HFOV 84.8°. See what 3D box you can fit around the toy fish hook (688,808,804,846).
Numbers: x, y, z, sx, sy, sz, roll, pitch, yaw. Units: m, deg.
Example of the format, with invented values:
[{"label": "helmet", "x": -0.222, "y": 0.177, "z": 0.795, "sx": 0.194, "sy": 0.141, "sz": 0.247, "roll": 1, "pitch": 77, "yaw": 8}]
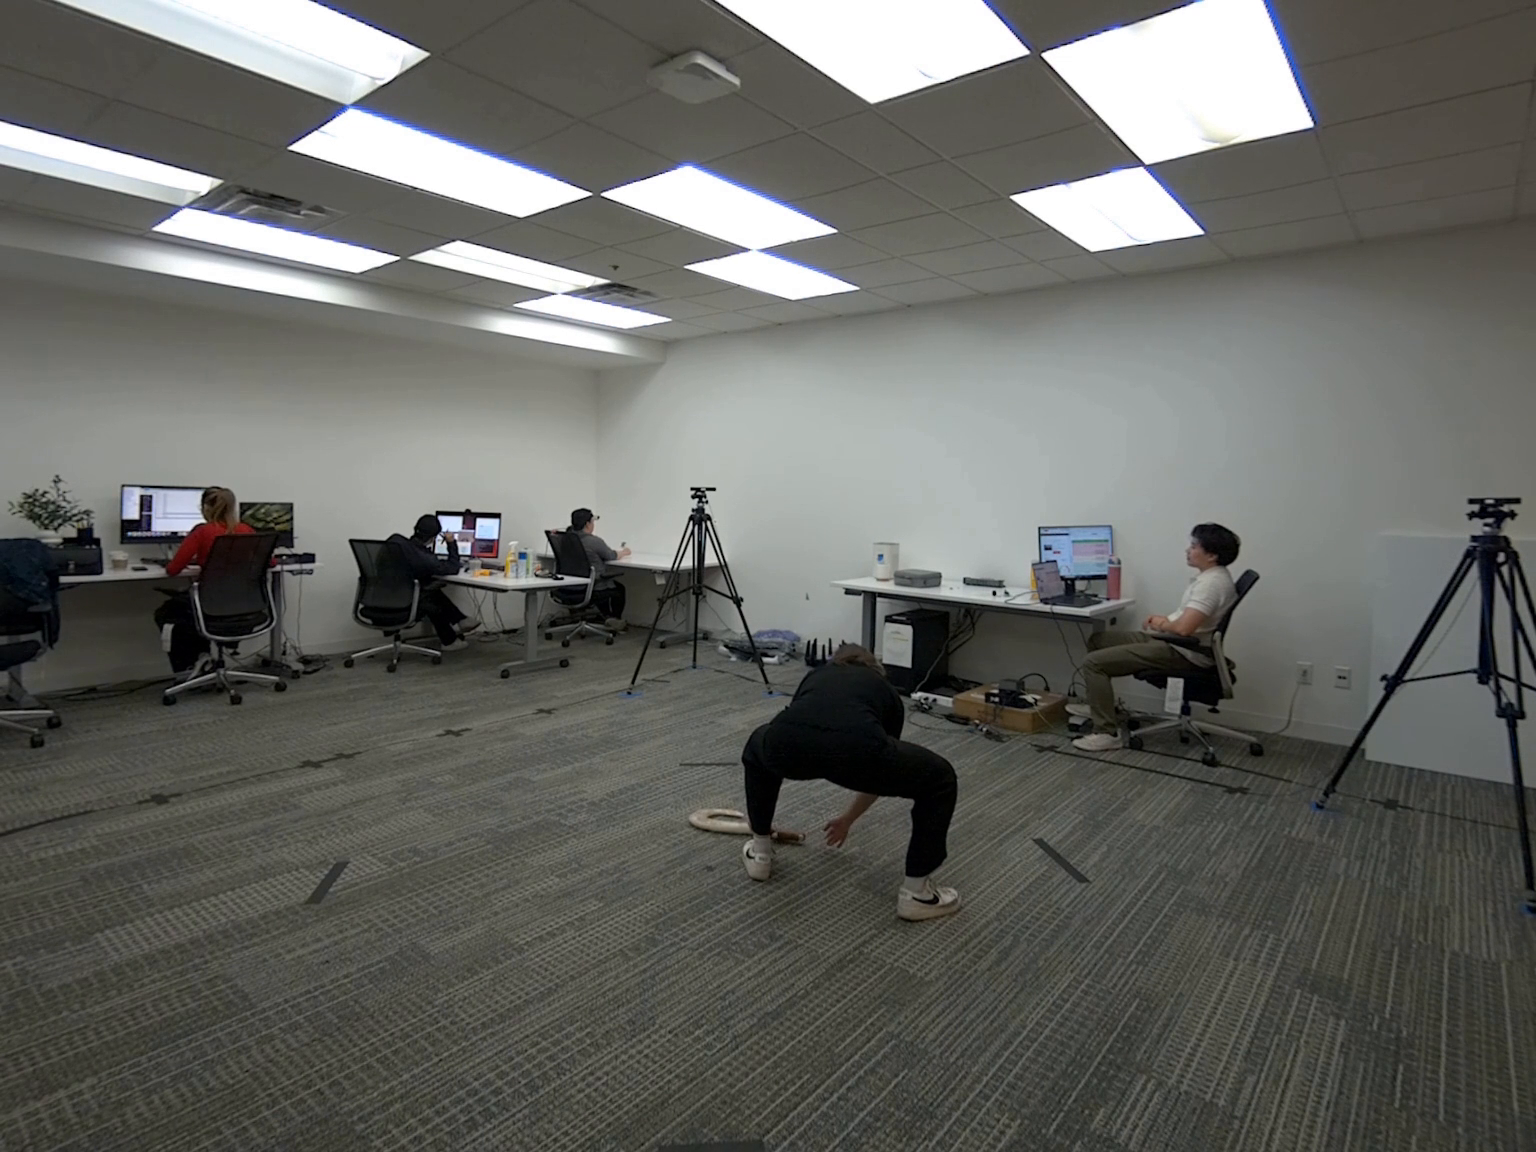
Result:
[{"label": "toy fish hook", "x": -0.086, "y": 1.009, "z": 3.479, "sx": 0.519, "sy": 0.048, "sz": 0.220, "roll": 3, "pitch": 7, "yaw": 23}]
